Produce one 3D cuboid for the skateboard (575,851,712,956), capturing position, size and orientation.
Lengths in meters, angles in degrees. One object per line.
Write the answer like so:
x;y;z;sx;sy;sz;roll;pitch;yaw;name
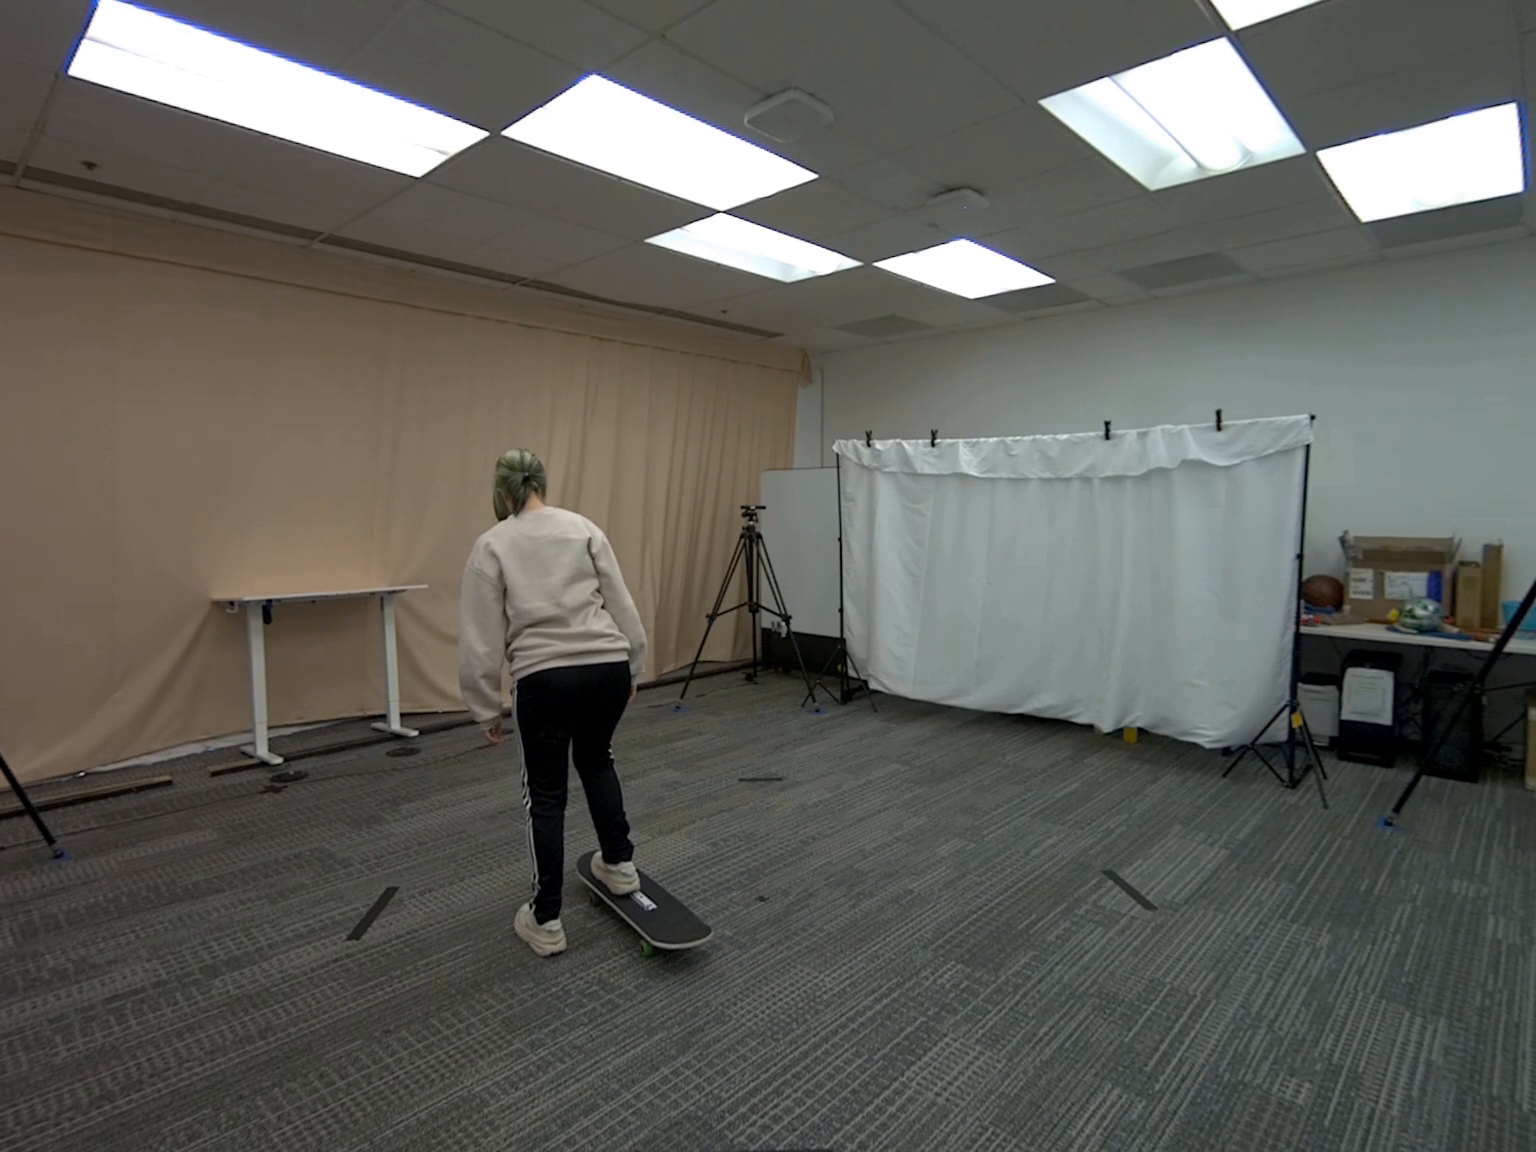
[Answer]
-0.433;1.110;2.812;0.188;0.110;0.810;-5;6;-34;skateboard
